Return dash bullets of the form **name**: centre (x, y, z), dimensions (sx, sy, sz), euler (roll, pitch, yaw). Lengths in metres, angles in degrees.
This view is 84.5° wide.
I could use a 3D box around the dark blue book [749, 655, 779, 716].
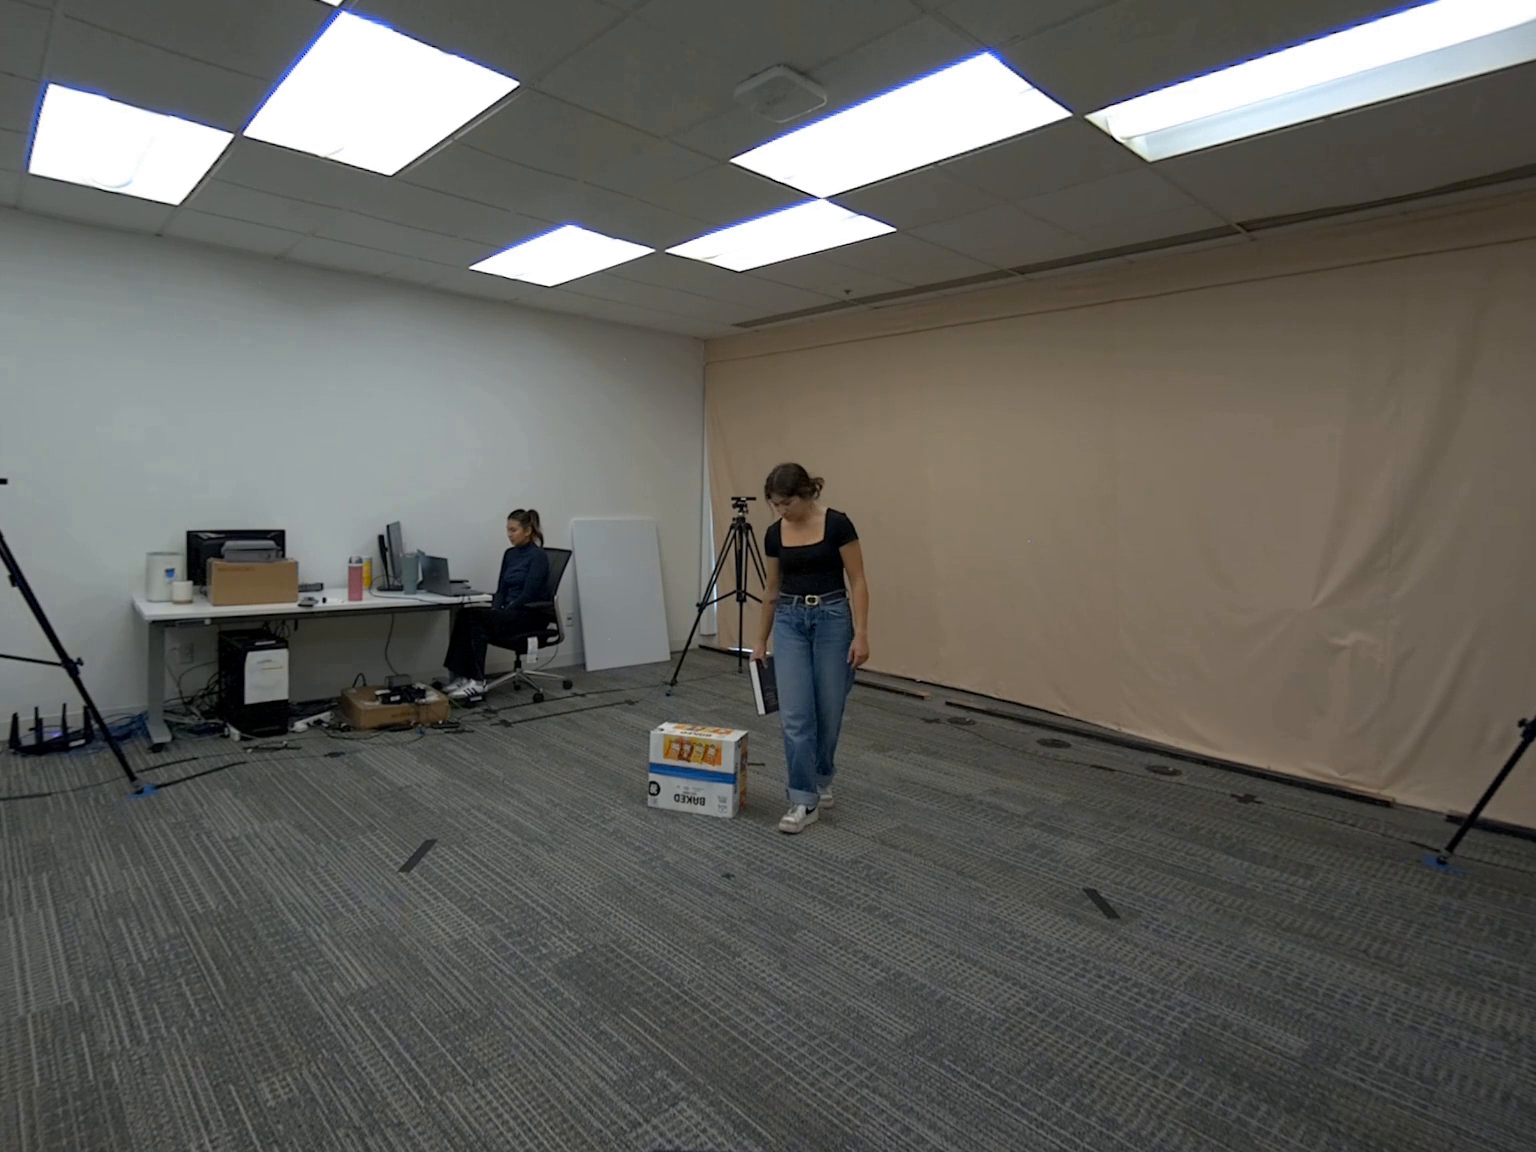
- **dark blue book**: centre (-0.012, 0.493, 3.815), dimensions (0.046, 0.246, 0.160), euler (-14, -7, 34)
